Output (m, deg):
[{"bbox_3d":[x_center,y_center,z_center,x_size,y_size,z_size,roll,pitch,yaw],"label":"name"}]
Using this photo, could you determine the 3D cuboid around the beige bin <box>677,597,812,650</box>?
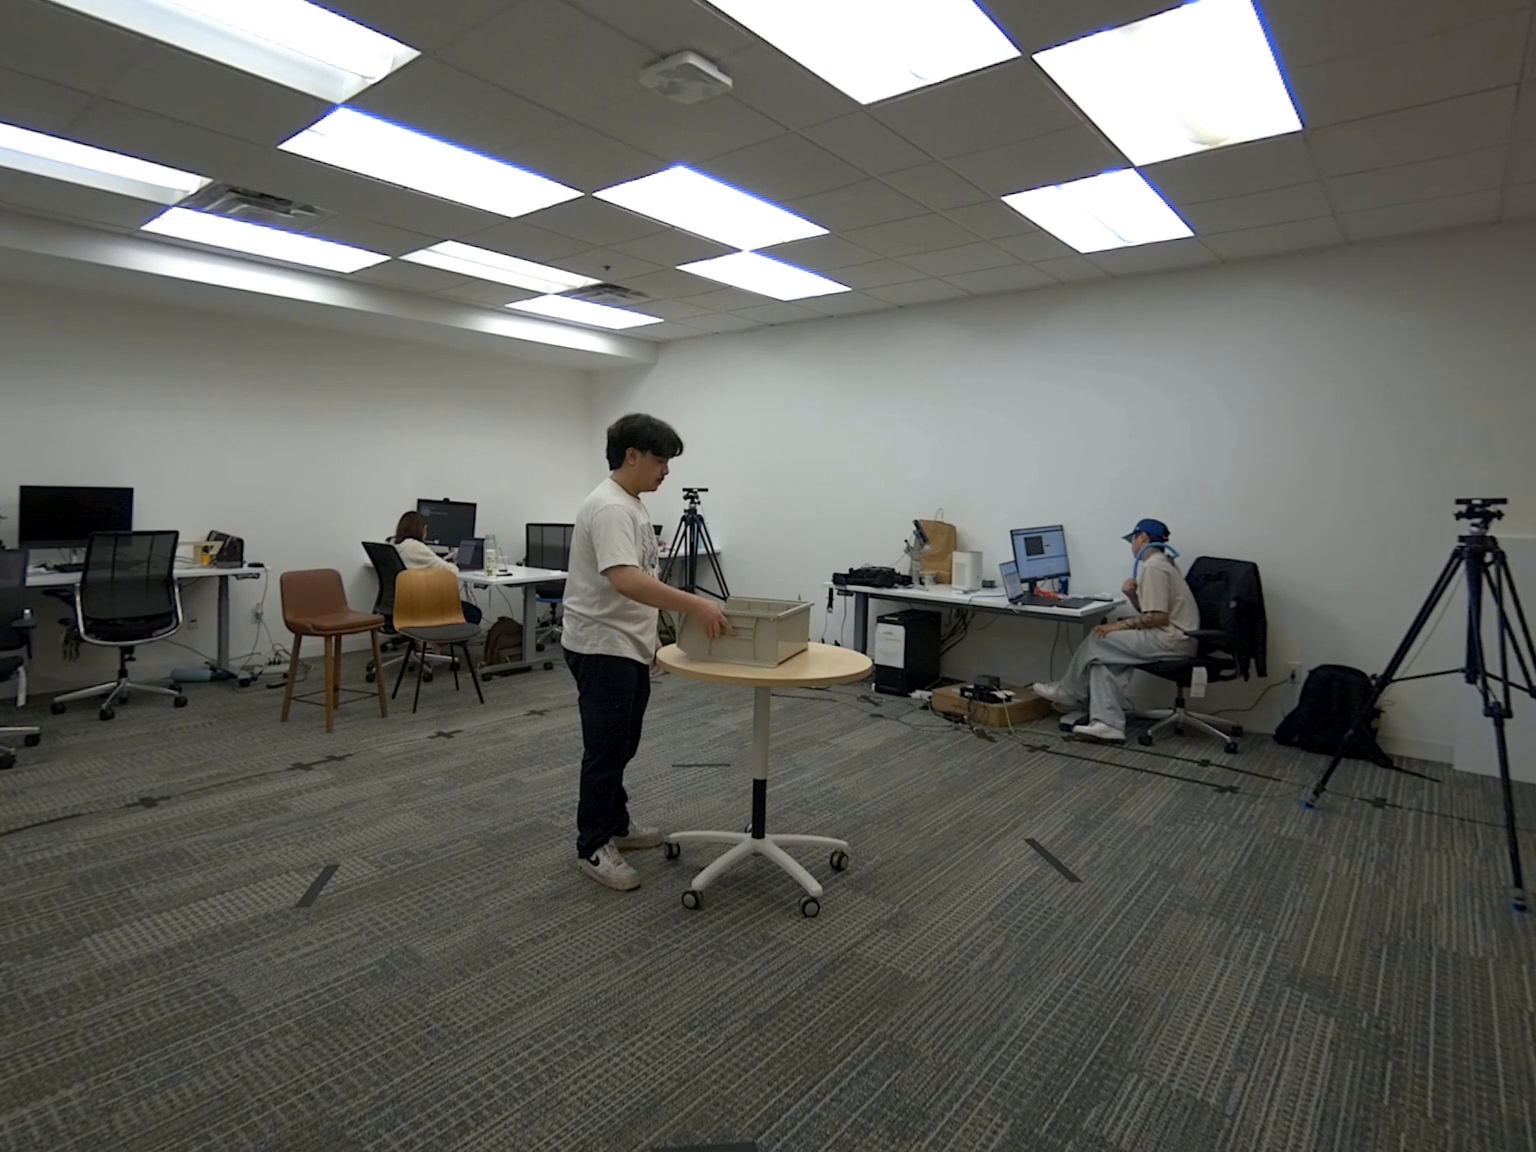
[{"bbox_3d":[-0.080,0.193,3.061,0.386,0.188,0.414,4,5,19],"label":"beige bin"}]
